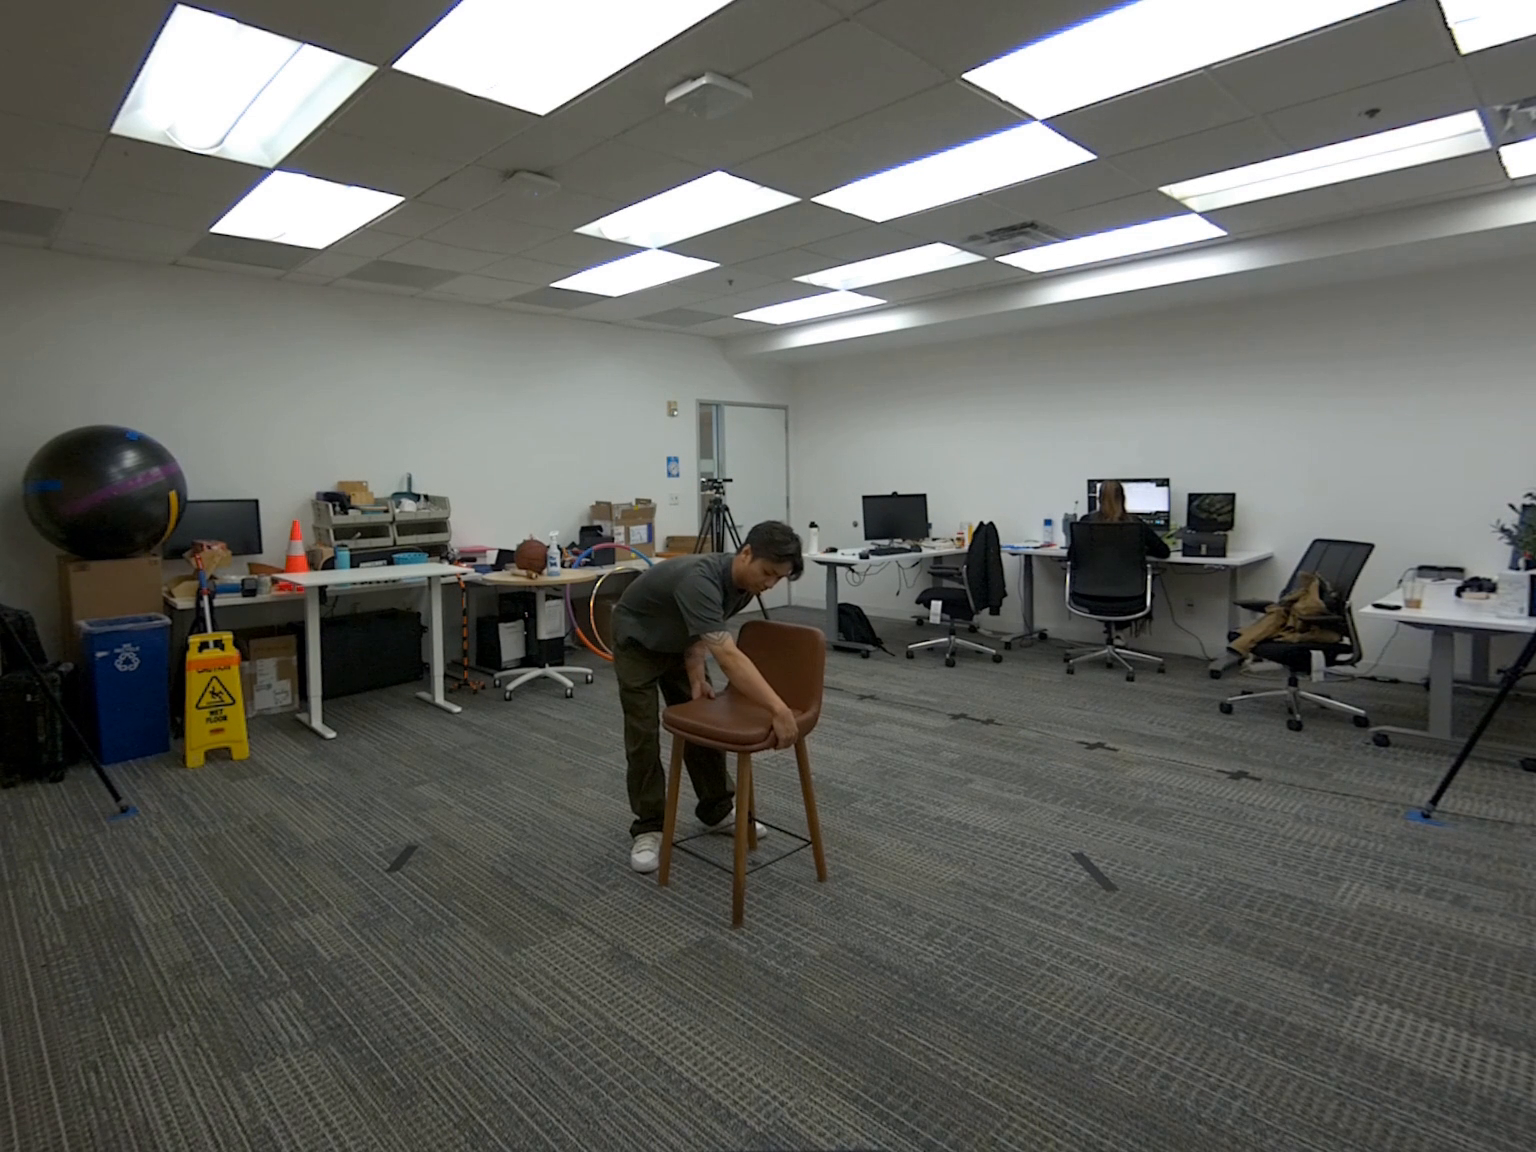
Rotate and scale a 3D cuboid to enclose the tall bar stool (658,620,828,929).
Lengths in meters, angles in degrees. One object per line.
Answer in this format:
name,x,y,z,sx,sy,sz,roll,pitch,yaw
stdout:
tall bar stool,-0.079,0.628,2.924,0.455,0.887,0.470,-4,5,-44
